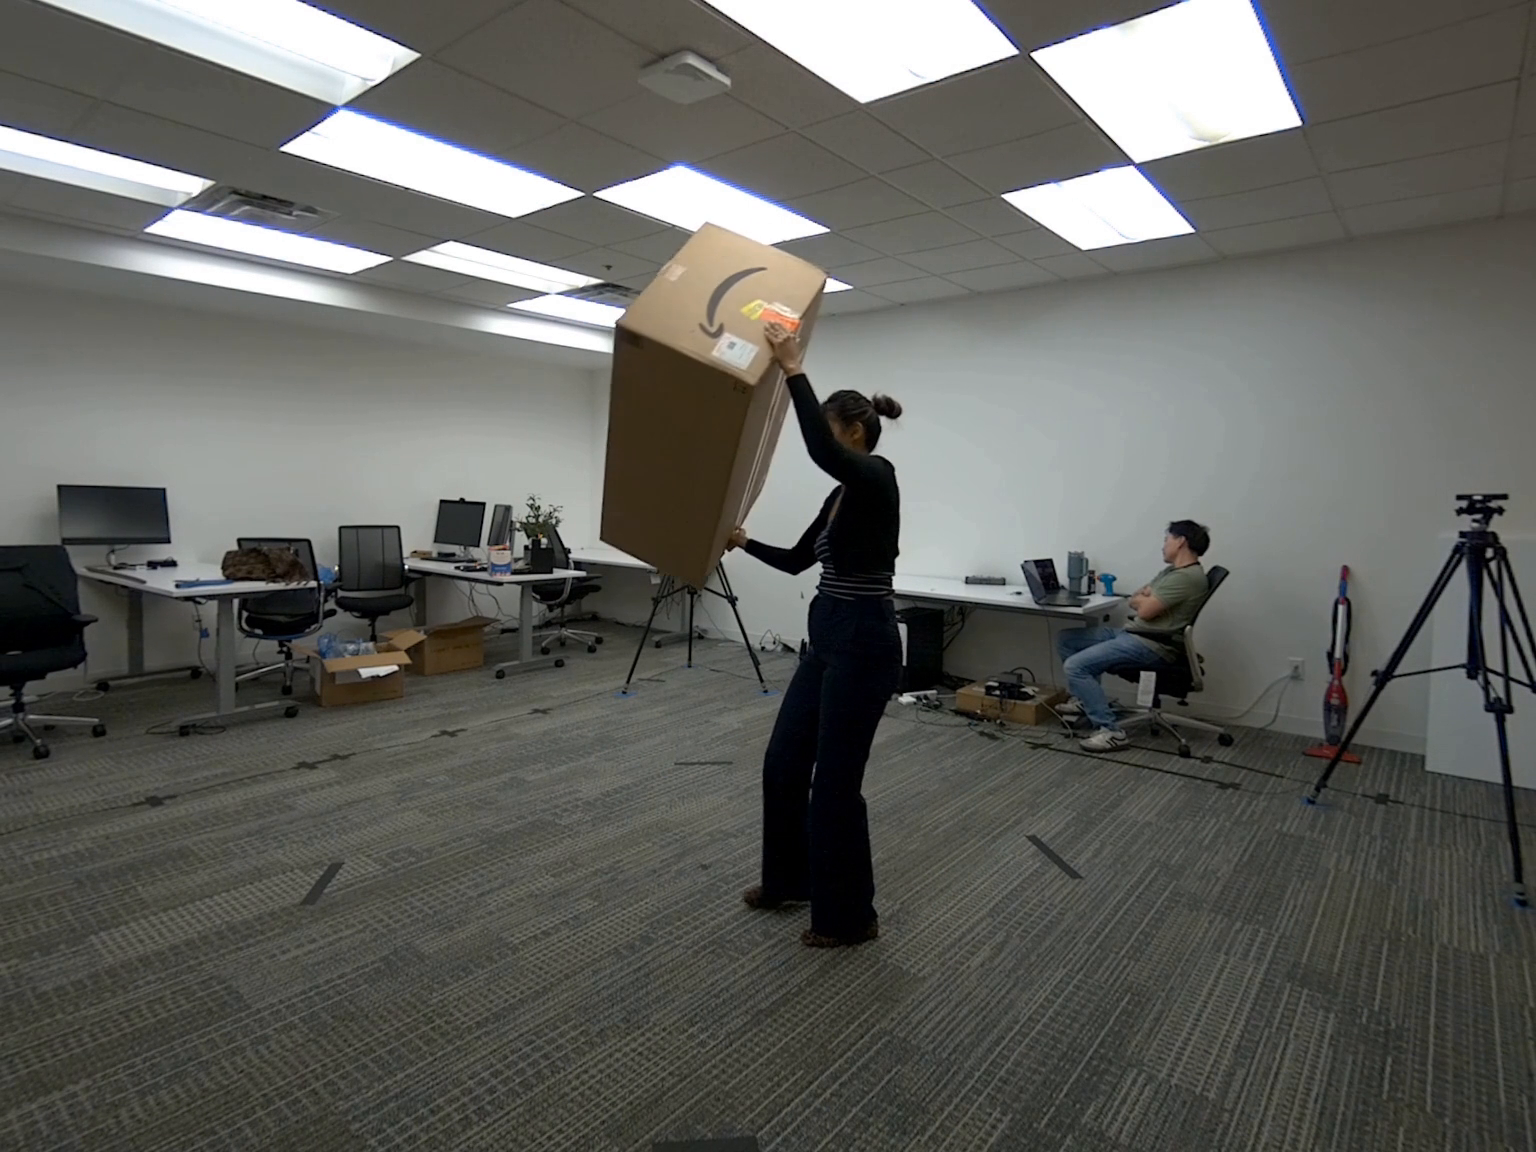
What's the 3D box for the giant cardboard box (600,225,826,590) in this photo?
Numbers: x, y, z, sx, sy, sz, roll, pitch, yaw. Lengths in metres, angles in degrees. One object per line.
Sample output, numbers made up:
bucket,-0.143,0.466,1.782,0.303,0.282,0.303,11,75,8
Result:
giant cardboard box,-0.223,-0.514,2.818,0.430,0.582,1.008,27,-36,5
